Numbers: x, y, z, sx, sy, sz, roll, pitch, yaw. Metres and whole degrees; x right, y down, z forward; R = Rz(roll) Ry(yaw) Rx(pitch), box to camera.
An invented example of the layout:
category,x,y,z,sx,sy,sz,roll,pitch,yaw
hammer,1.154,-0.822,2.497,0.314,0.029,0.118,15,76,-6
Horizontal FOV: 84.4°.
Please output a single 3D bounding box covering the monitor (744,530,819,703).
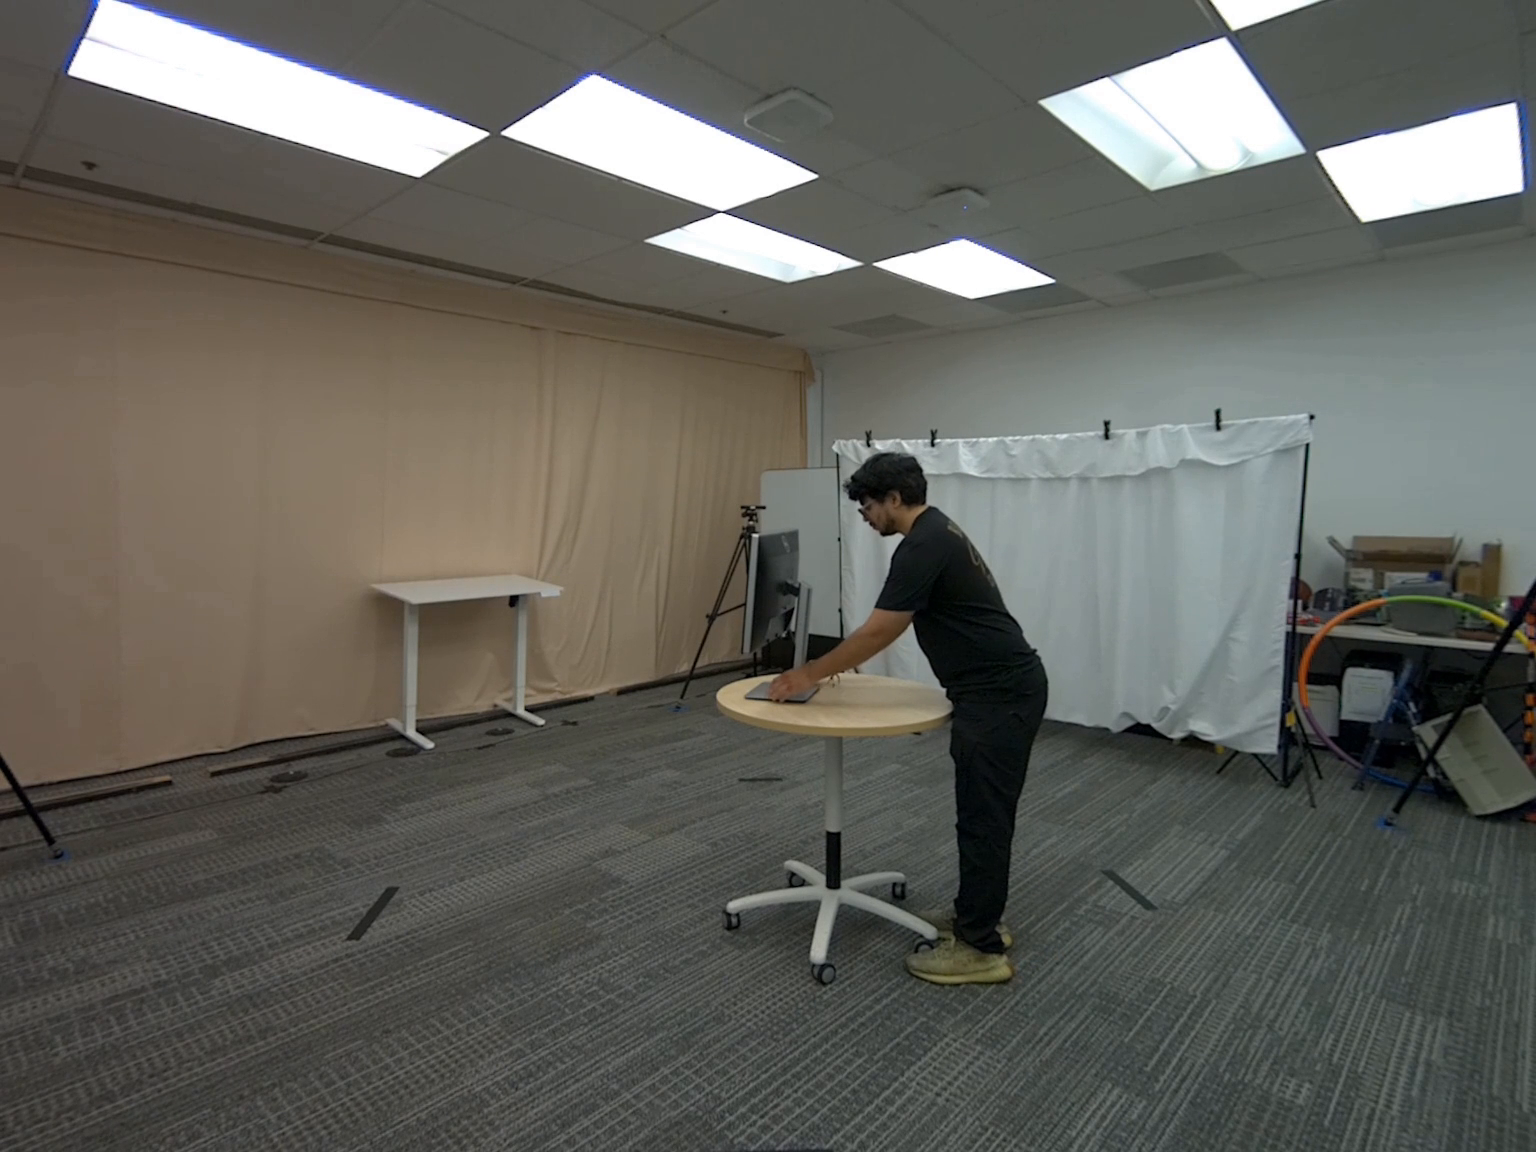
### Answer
category,x,y,z,sx,sy,sz,roll,pitch,yaw
monitor,0.082,0.128,2.749,0.214,0.553,0.556,2,4,15
